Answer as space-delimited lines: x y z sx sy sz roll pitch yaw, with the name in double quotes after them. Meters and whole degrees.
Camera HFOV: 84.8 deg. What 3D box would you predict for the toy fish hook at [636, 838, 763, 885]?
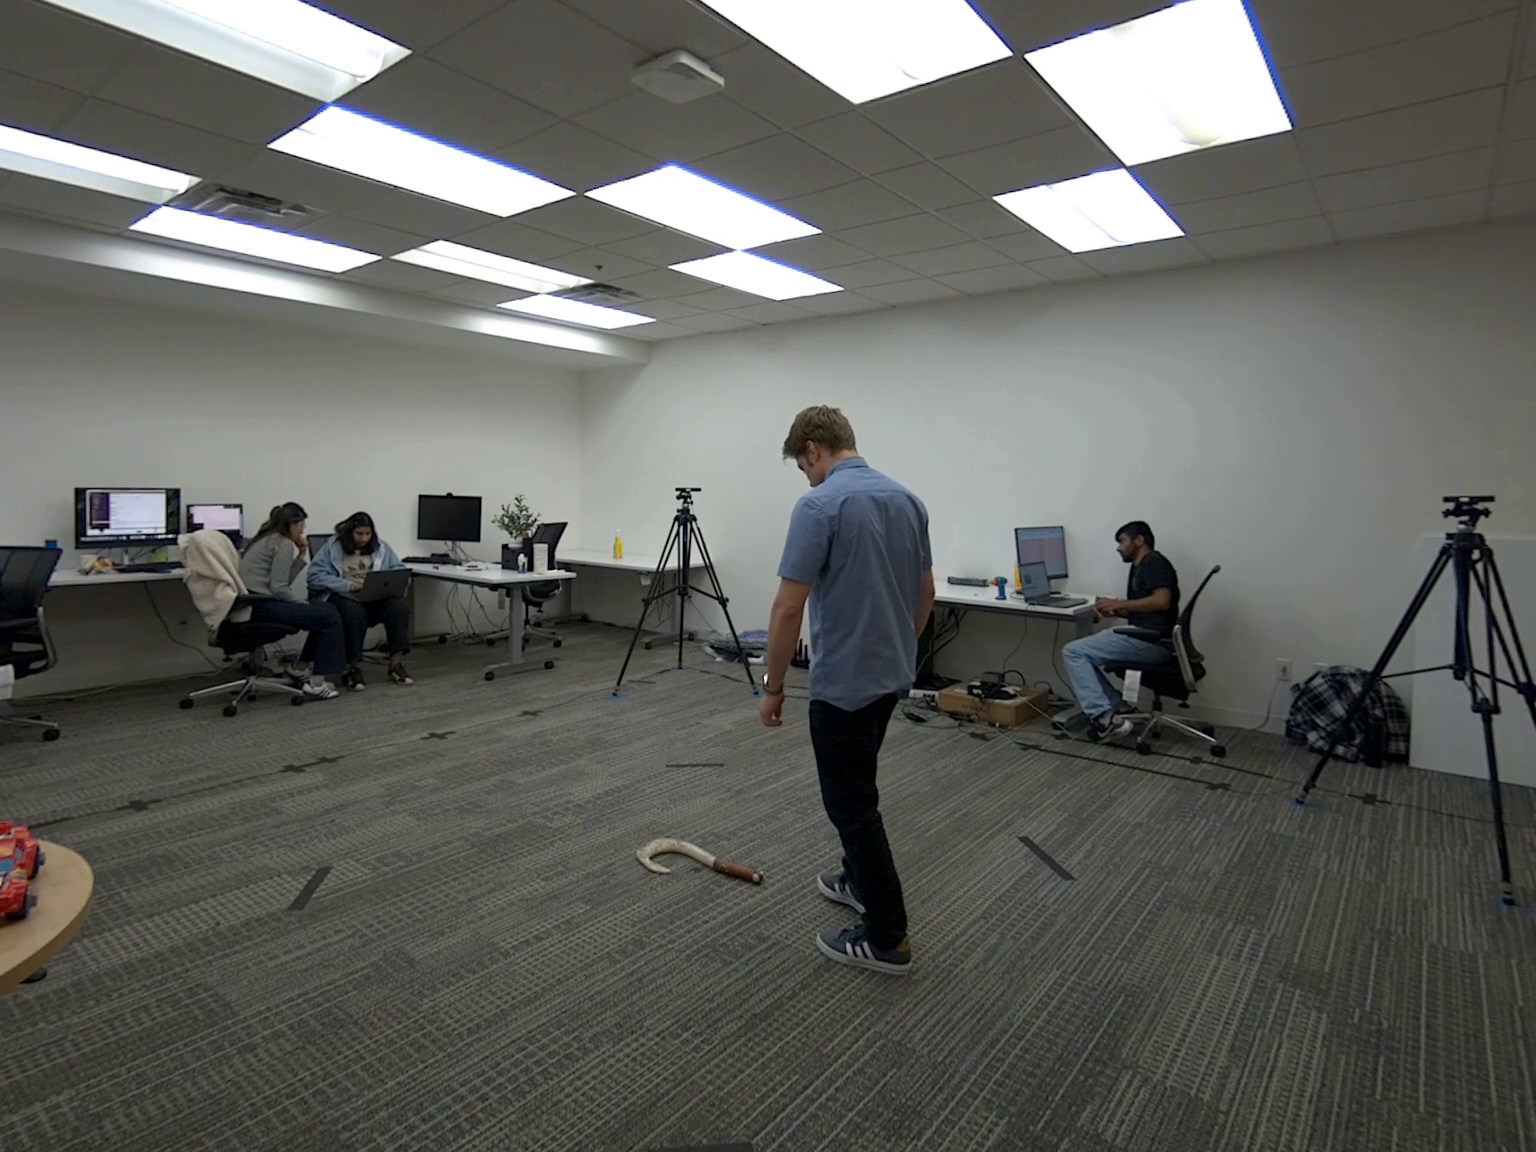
-0.265 1.053 3.094 0.522 0.048 0.220 4 15 35 "toy fish hook"
